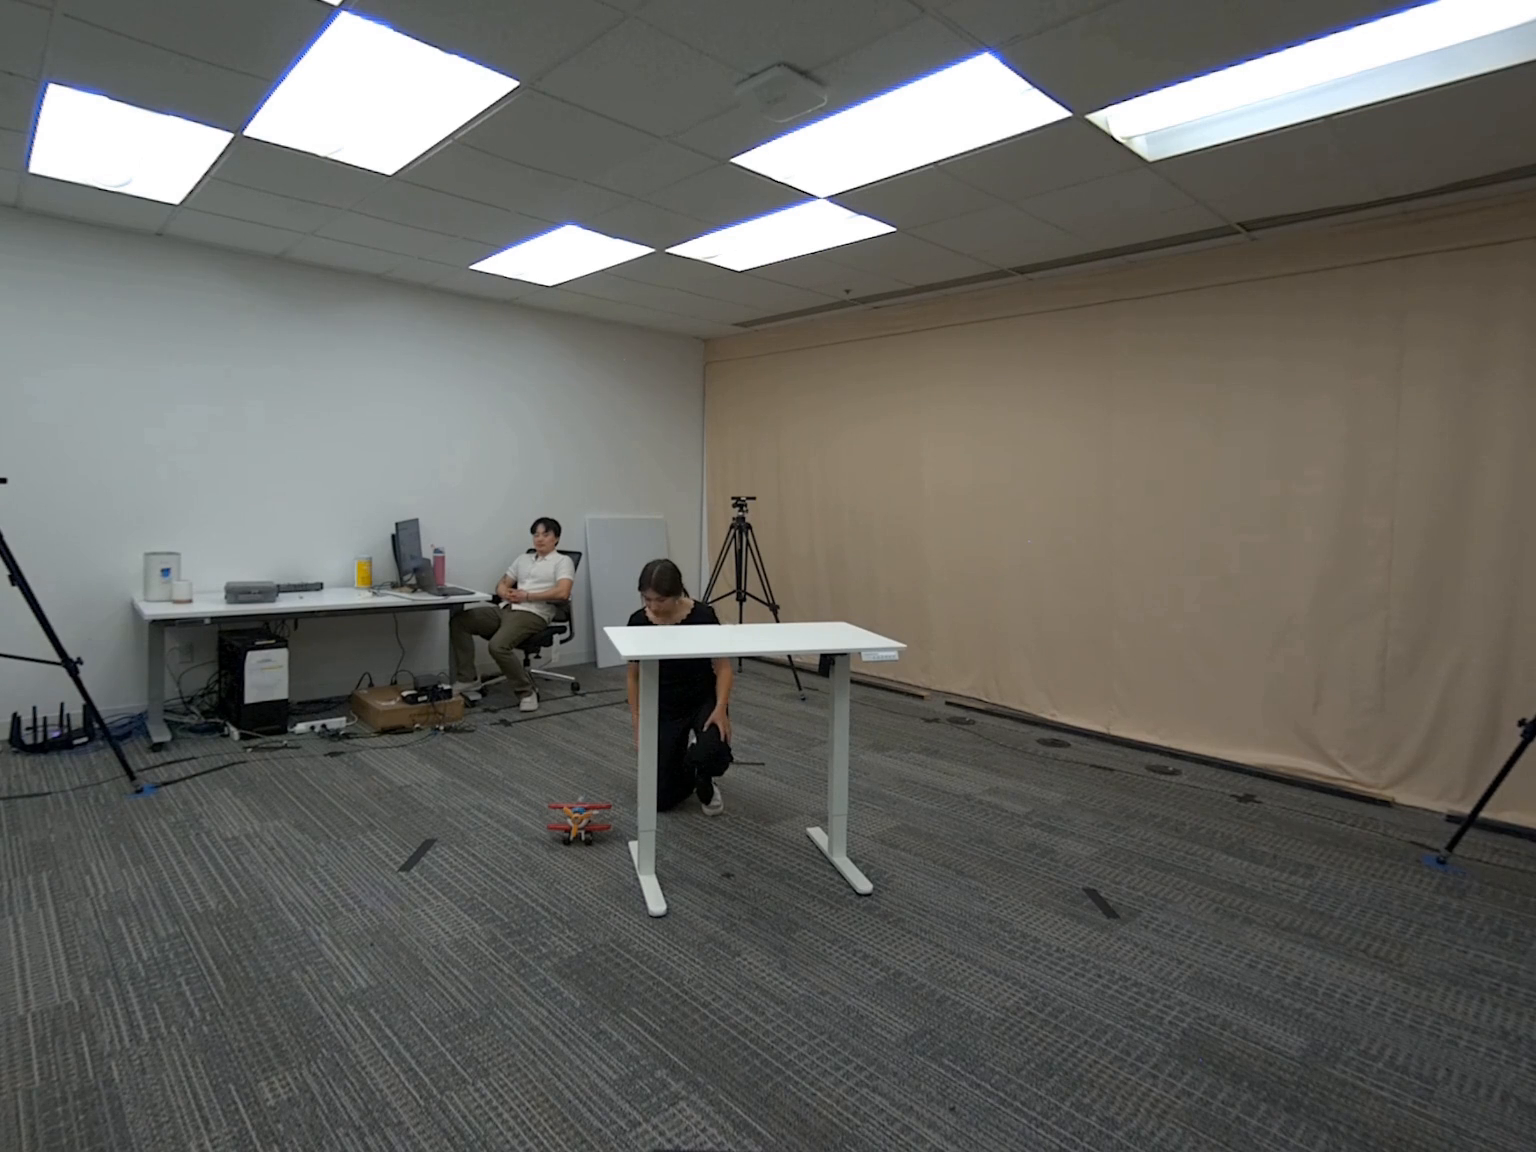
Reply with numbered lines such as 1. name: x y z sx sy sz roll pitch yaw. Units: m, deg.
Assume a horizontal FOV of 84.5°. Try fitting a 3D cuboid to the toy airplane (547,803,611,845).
1. toy airplane: -0.797 0.991 3.429 0.246 0.156 0.265 -2 7 -31
